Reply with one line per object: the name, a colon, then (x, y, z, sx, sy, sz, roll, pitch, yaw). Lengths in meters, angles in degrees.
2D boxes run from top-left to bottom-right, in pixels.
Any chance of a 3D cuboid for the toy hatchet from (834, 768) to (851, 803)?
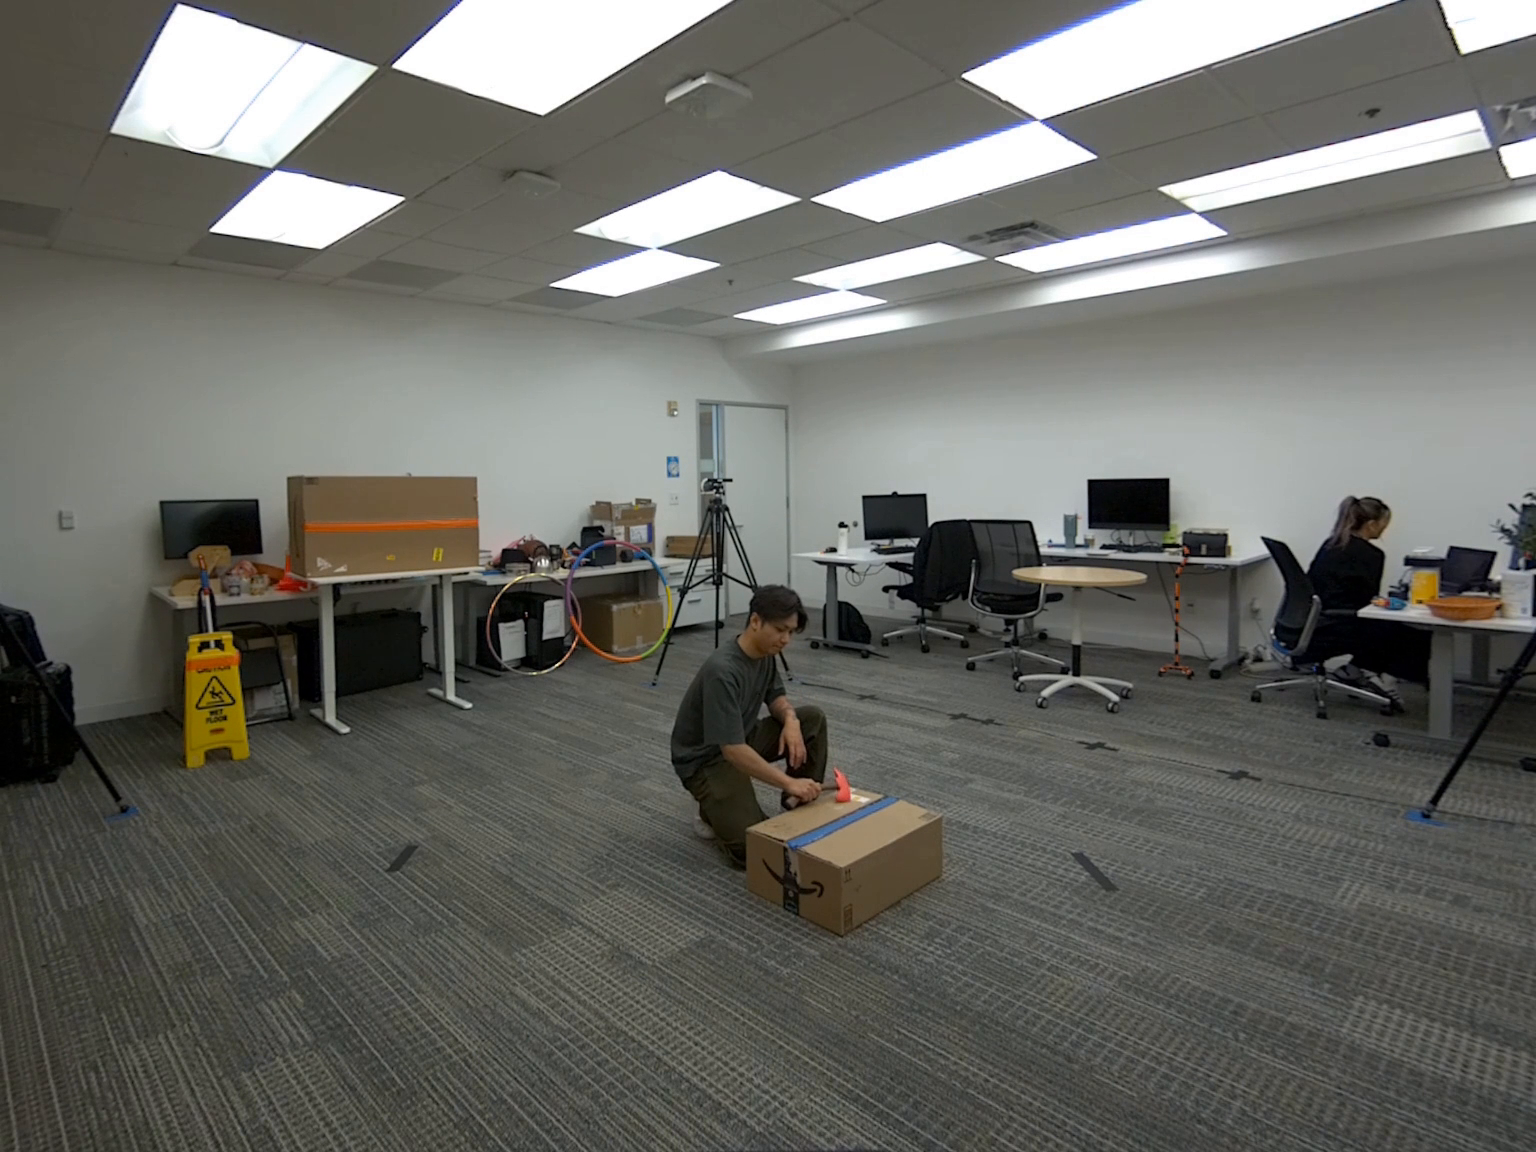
toy hatchet: (0.193, 0.802, 3.099, 0.266, 0.029, 0.135, -26, 59, -31)
